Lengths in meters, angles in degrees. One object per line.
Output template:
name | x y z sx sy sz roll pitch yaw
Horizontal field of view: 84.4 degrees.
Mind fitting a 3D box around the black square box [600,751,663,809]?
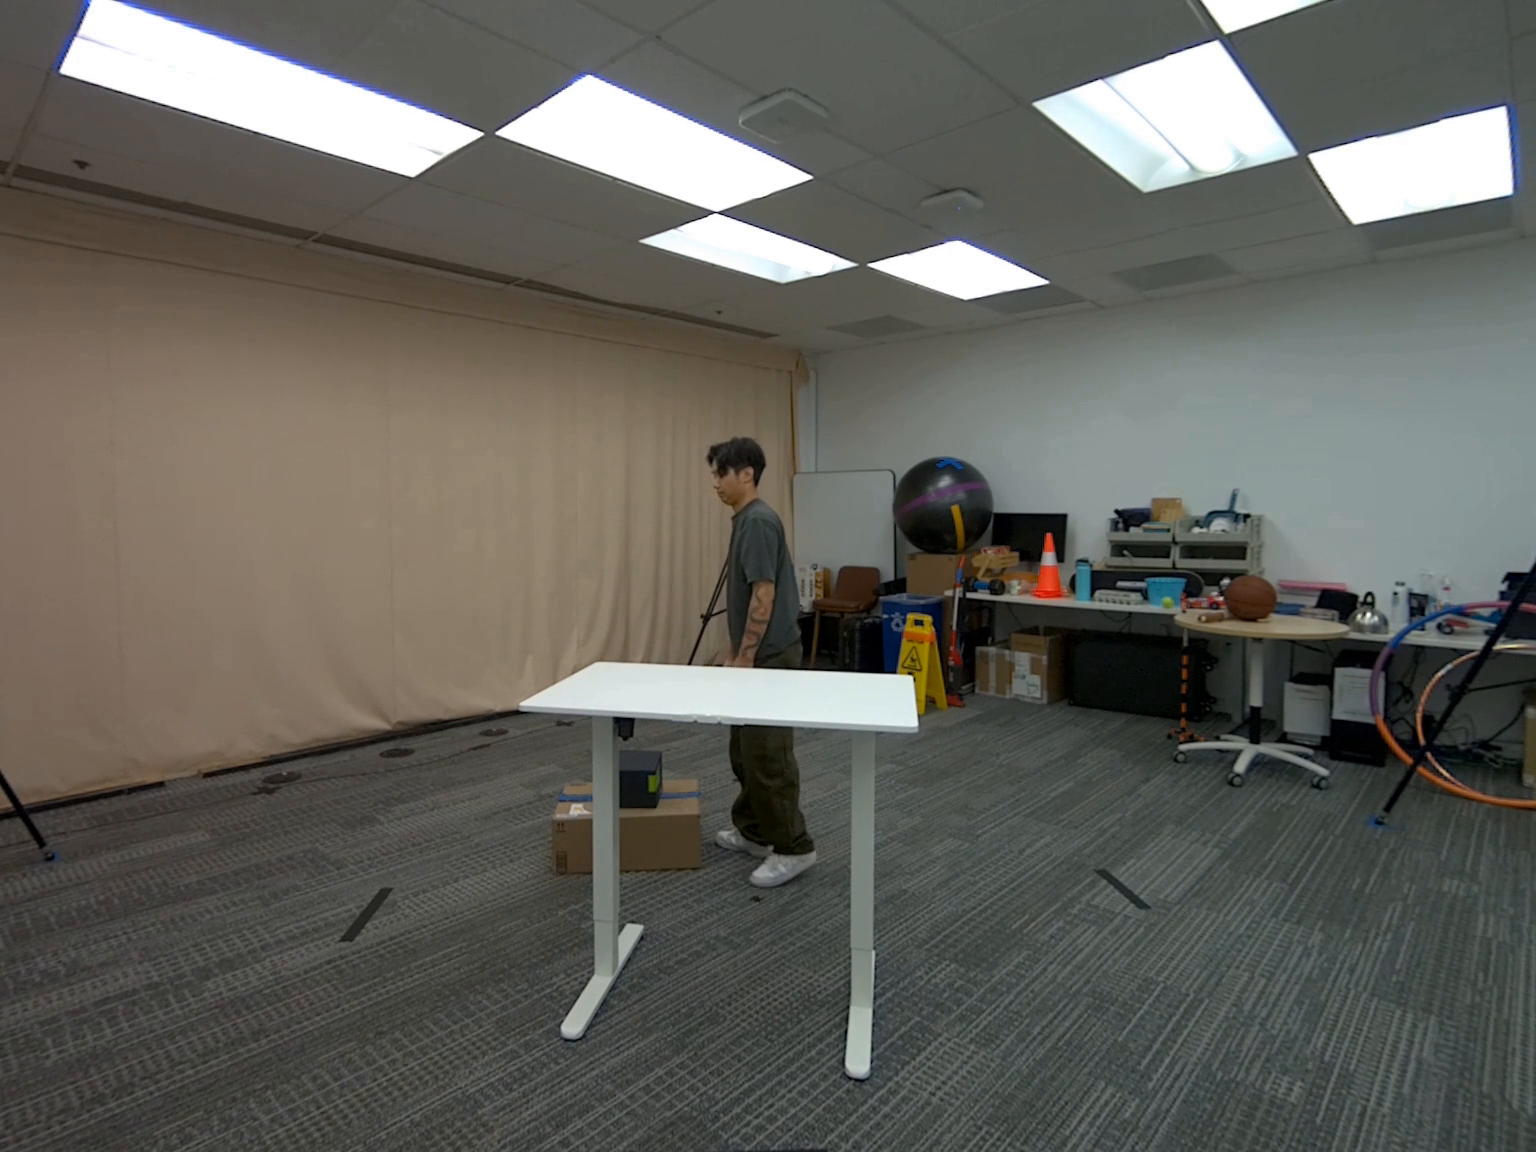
black square box | -0.544 0.812 3.397 0.217 0.155 0.228 -1 5 0
